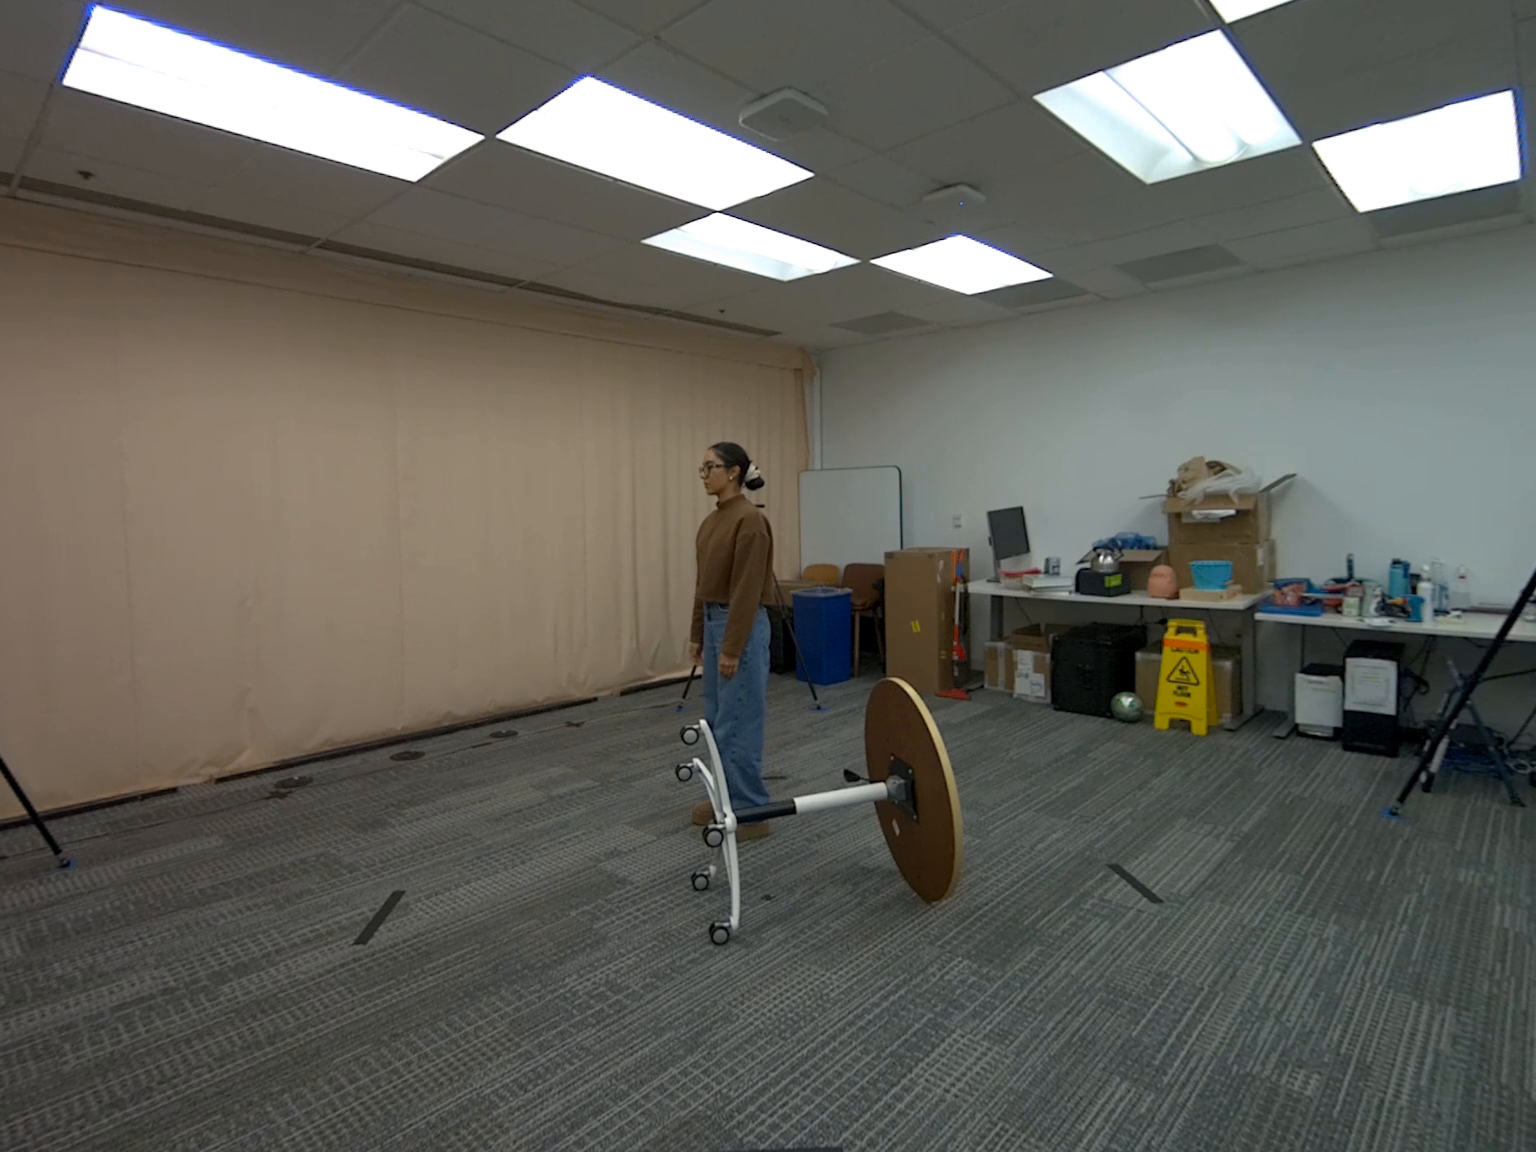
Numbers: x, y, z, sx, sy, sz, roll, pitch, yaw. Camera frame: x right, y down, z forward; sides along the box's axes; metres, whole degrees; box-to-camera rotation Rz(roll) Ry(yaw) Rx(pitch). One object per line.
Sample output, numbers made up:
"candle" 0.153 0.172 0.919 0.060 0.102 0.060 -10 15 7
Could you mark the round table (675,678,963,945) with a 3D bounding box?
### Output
"round table" 0.133 0.801 2.928 0.786 0.761 0.775 -7 5 -11
